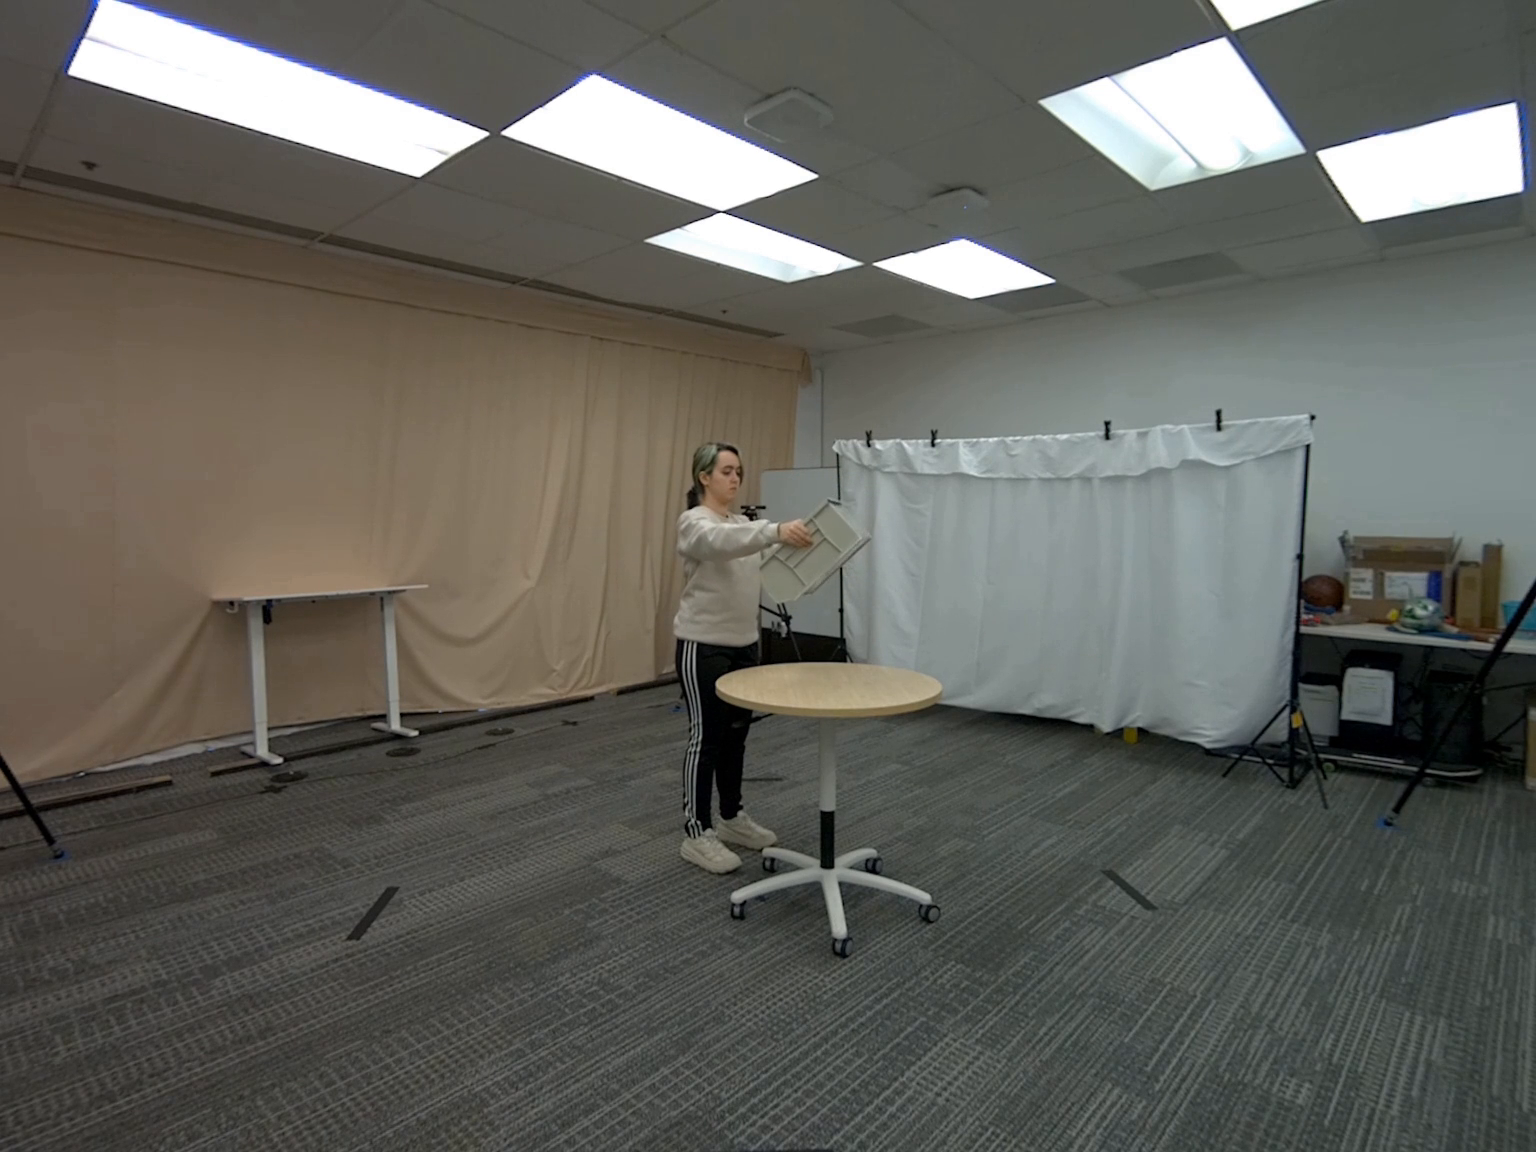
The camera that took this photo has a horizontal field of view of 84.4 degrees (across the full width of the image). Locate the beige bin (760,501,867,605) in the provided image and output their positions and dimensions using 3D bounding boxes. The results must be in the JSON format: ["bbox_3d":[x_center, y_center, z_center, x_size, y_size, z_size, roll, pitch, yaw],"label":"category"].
[{"bbox_3d":[0.167,-0.076,3.031,0.379,0.191,0.416,-42,-7,11],"label":"beige bin"}]
